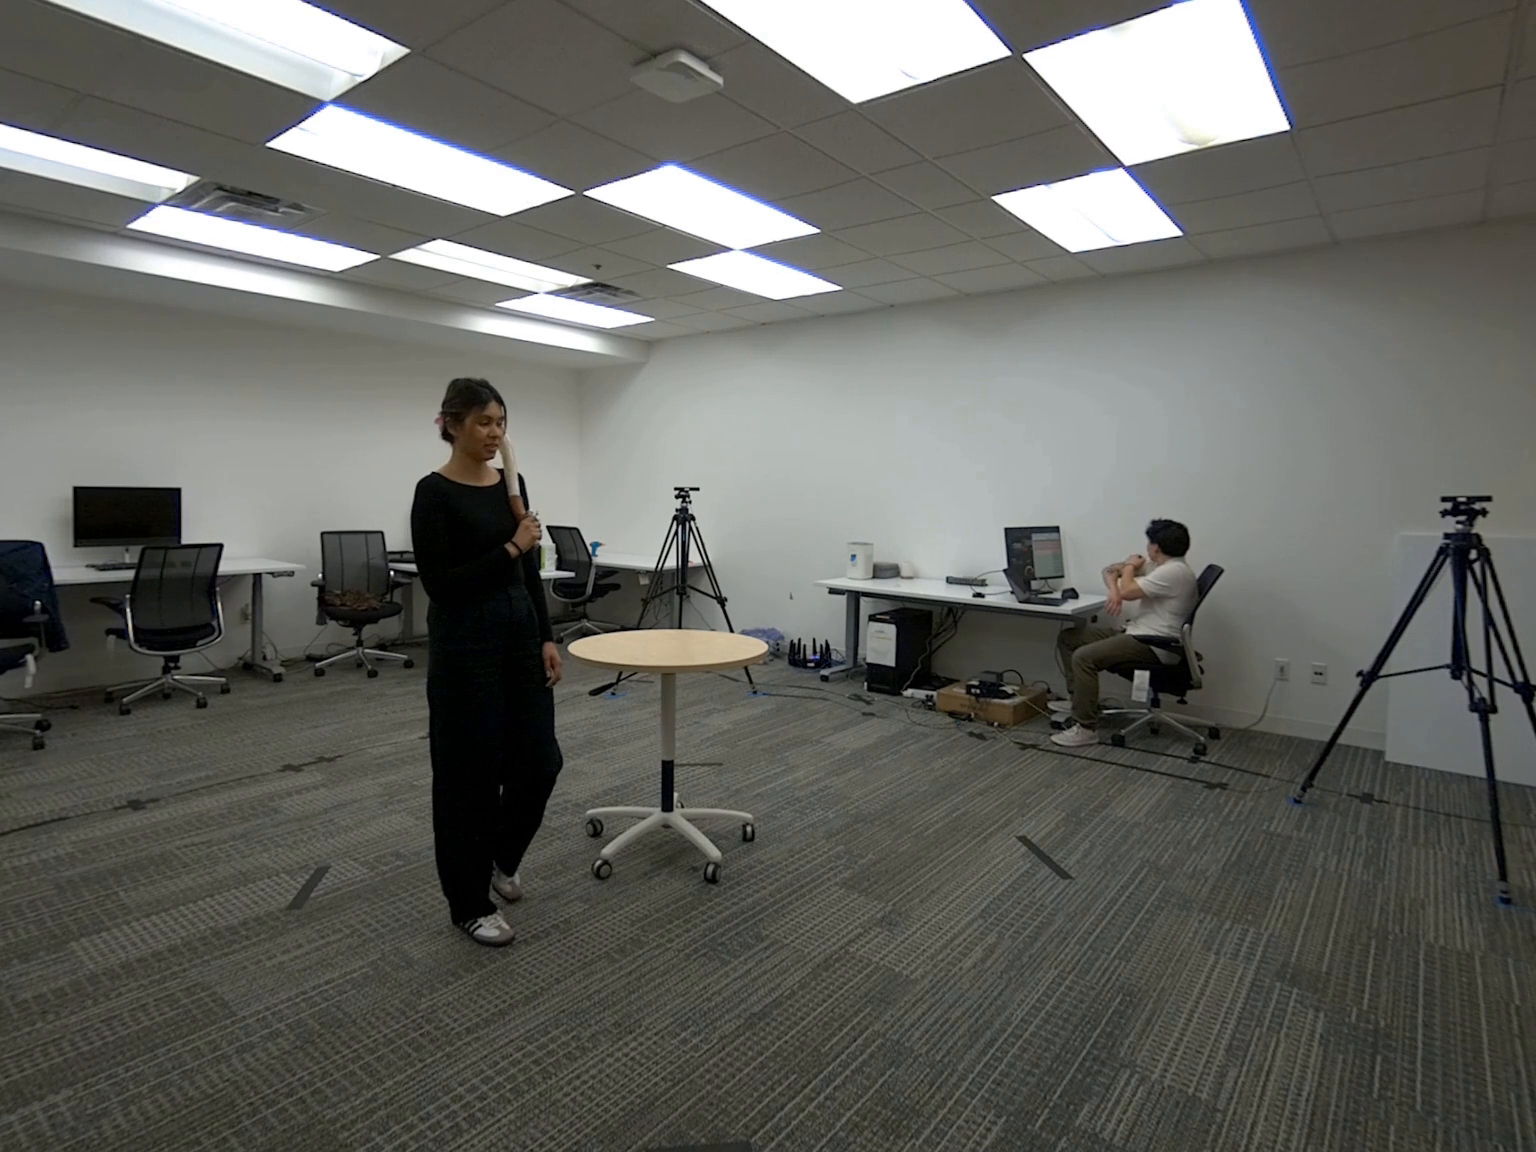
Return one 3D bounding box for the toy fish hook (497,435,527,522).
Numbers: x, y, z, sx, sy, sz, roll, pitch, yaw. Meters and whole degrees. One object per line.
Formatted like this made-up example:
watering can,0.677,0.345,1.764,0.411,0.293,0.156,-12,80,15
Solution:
toy fish hook,-0.865,-0.262,2.741,0.046,0.523,0.225,7,-42,-48
